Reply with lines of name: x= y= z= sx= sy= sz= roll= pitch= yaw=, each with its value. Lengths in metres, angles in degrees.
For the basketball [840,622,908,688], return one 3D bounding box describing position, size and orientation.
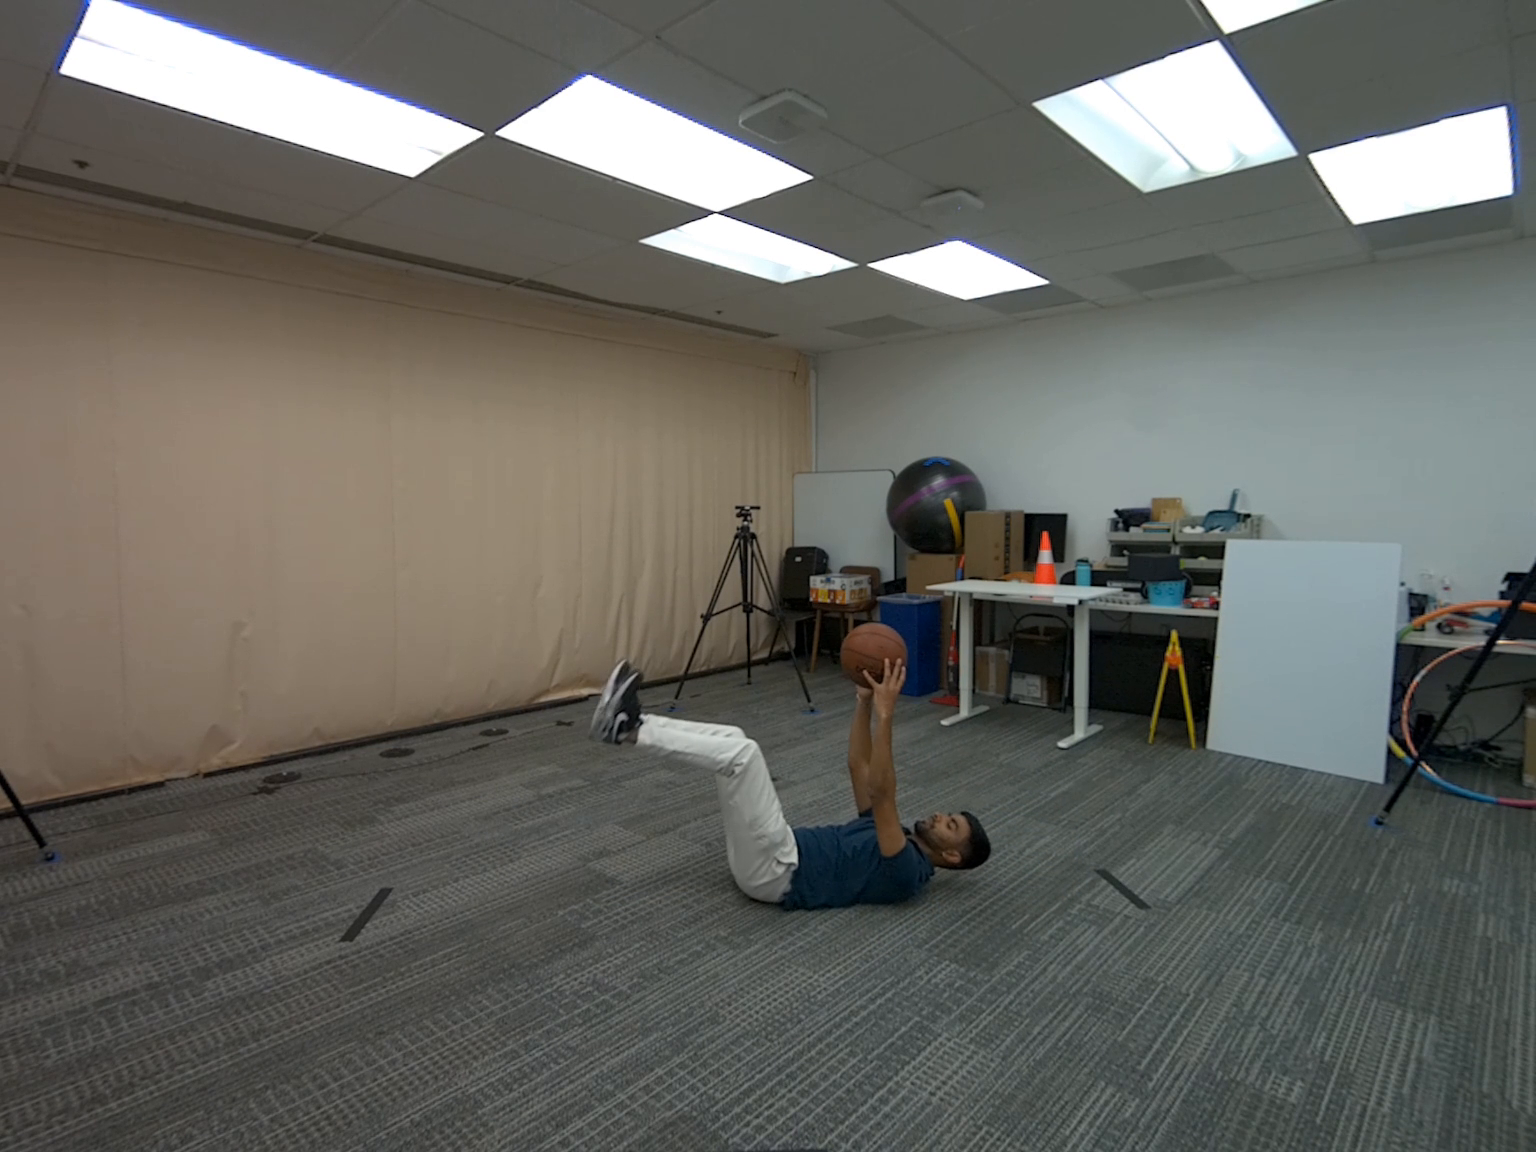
basketball: x=0.392 y=0.290 z=3.037 sx=0.236 sy=0.235 sz=0.237 roll=0 pitch=4 yaw=-2
